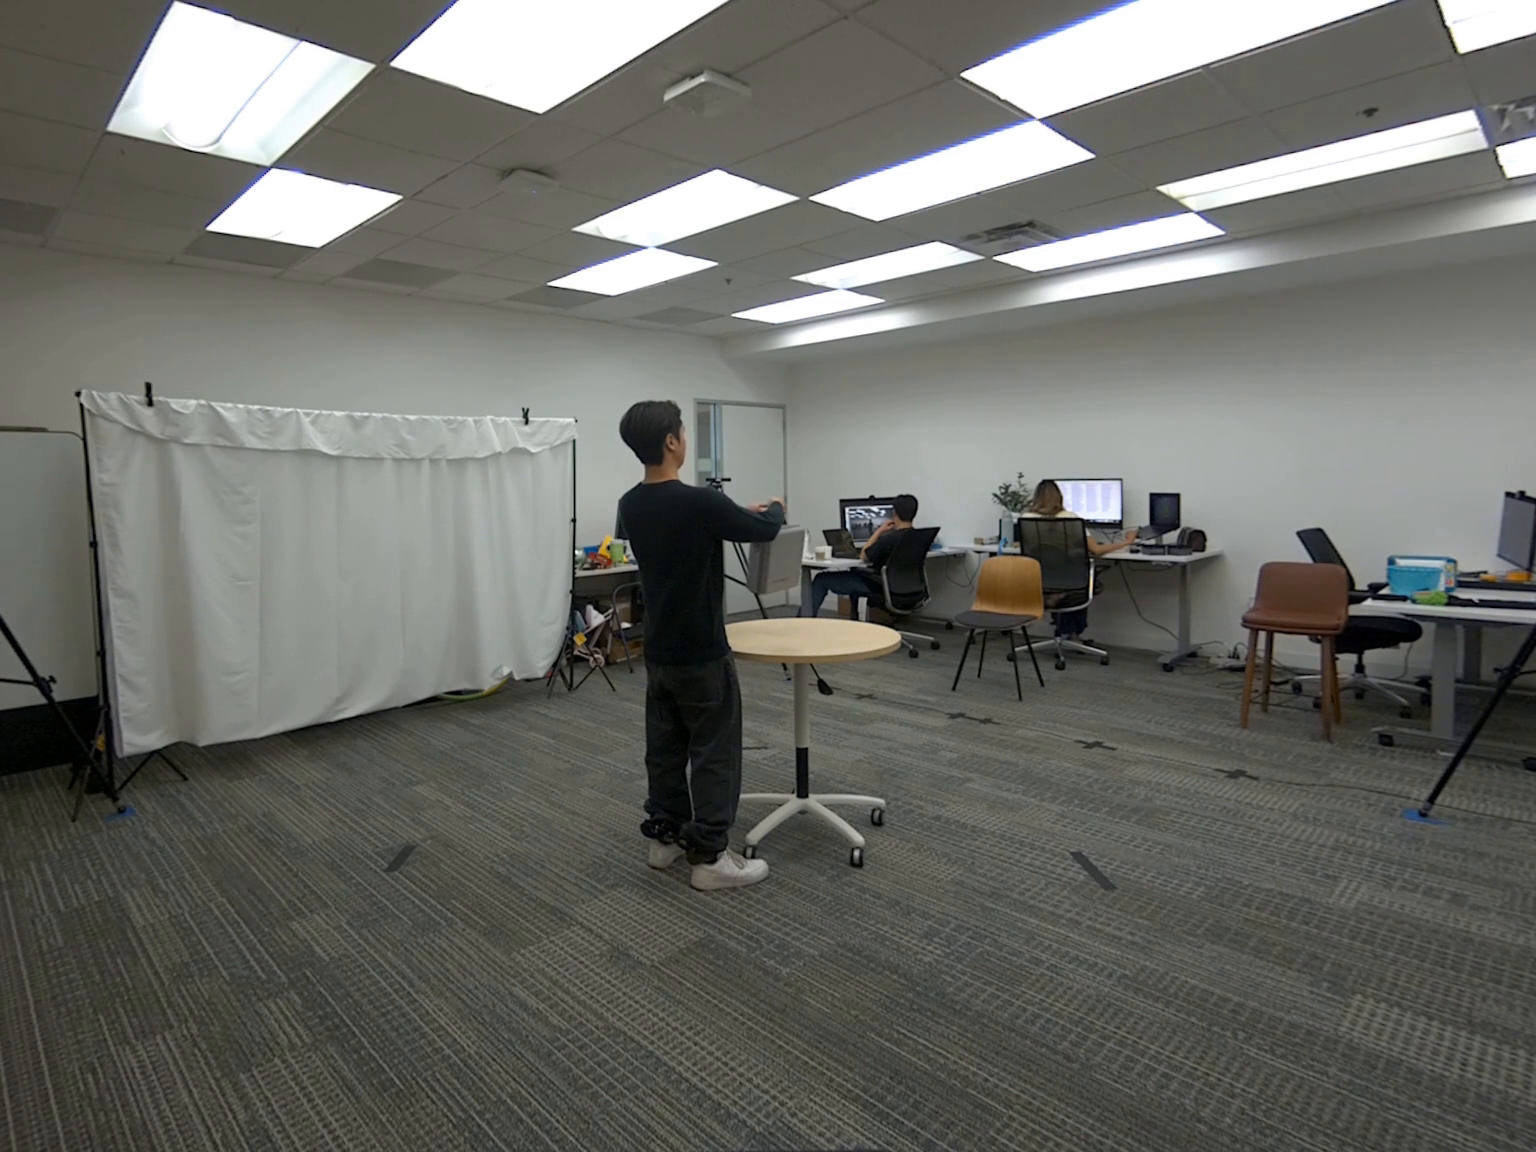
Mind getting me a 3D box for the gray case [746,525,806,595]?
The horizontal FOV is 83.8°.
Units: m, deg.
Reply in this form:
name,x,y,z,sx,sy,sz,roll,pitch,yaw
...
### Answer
name,x,y,z,sx,sy,sz,roll,pitch,yaw
gray case,0.034,-0.070,3.338,0.108,0.258,0.251,13,15,36
